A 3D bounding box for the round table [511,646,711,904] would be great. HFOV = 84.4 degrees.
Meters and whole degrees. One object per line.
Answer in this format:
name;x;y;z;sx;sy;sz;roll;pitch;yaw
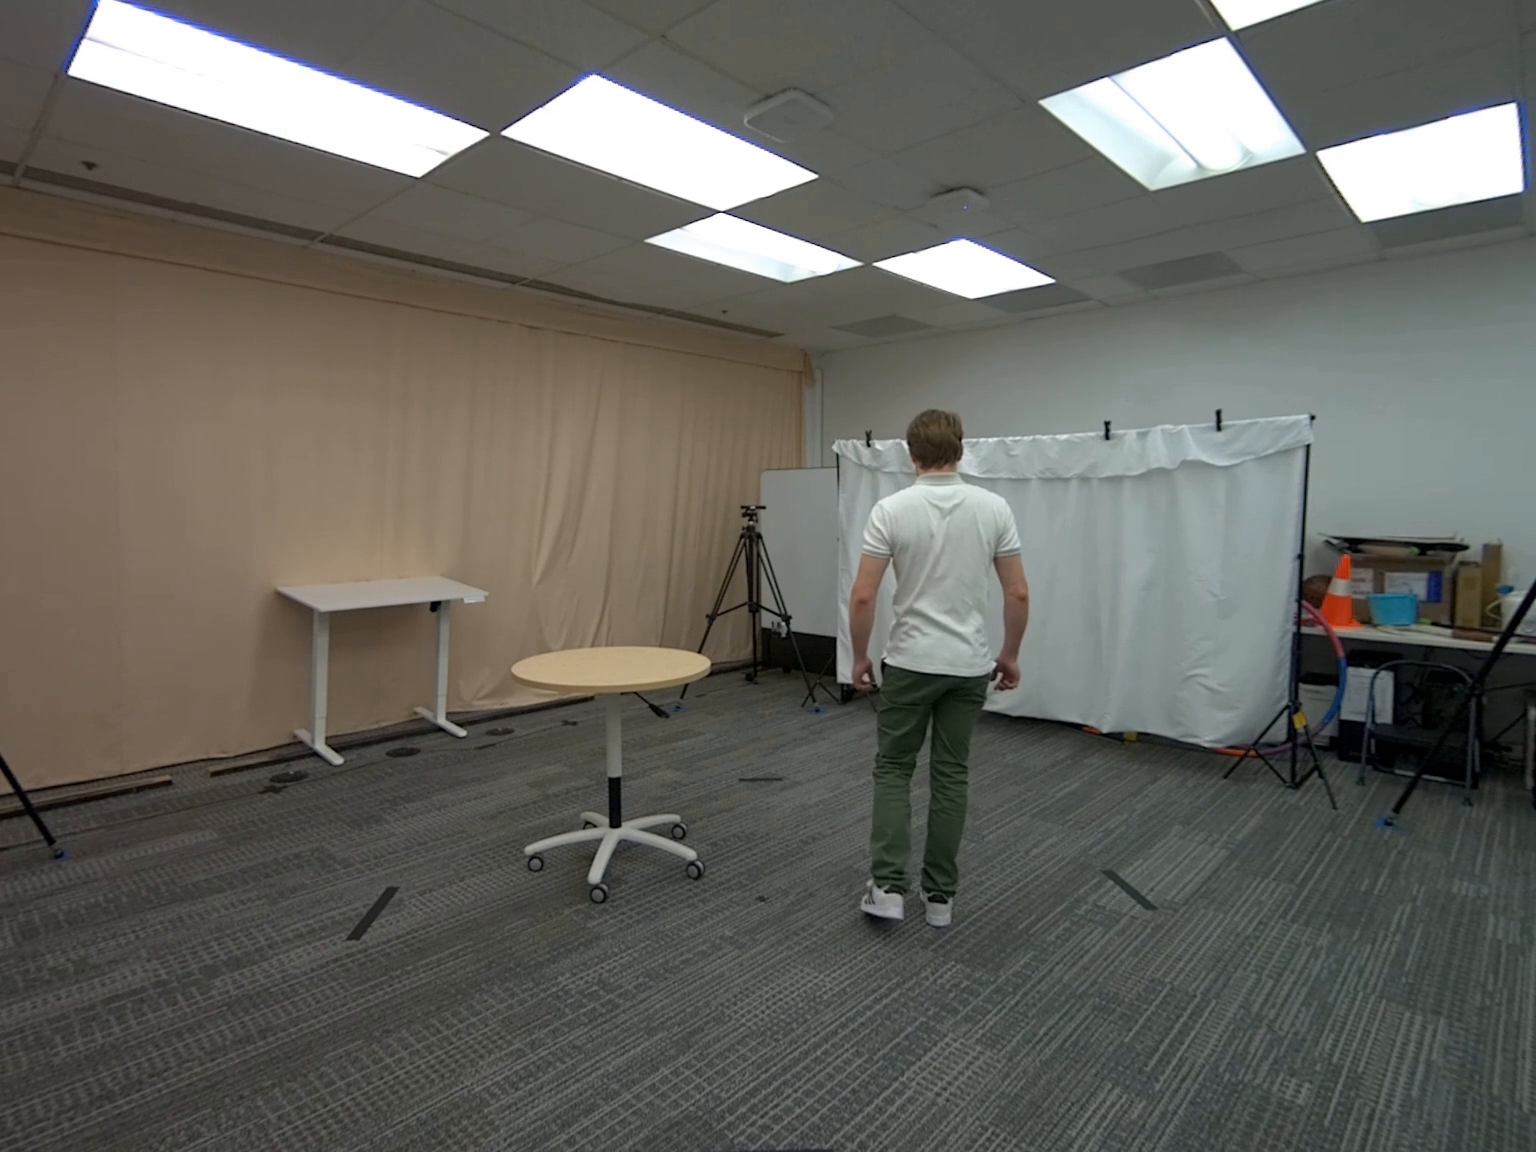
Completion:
round table;-0.593;0.735;3.291;0.763;0.792;0.766;-1;4;-2
